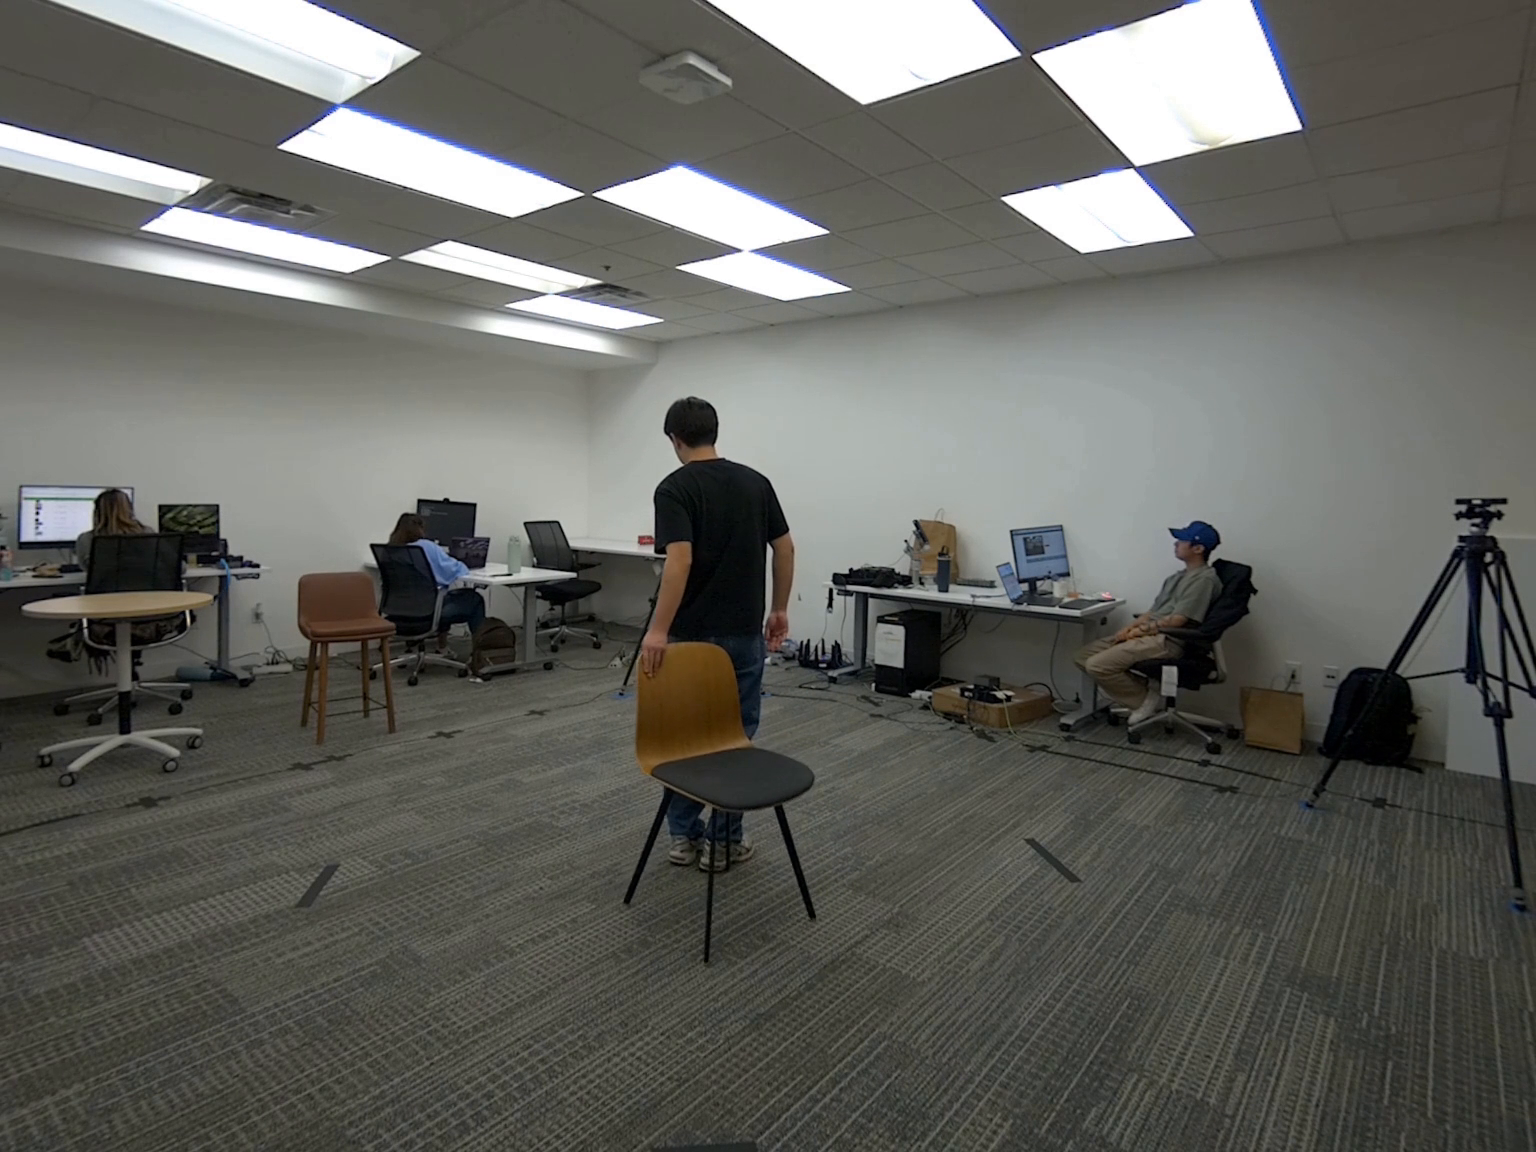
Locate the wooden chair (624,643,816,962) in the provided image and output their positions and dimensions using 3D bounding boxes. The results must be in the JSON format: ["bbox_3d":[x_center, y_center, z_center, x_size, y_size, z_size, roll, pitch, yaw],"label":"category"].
[{"bbox_3d":[-0.155,0.674,2.770,0.463,0.878,0.539,-1,-1,-40],"label":"wooden chair"}]
